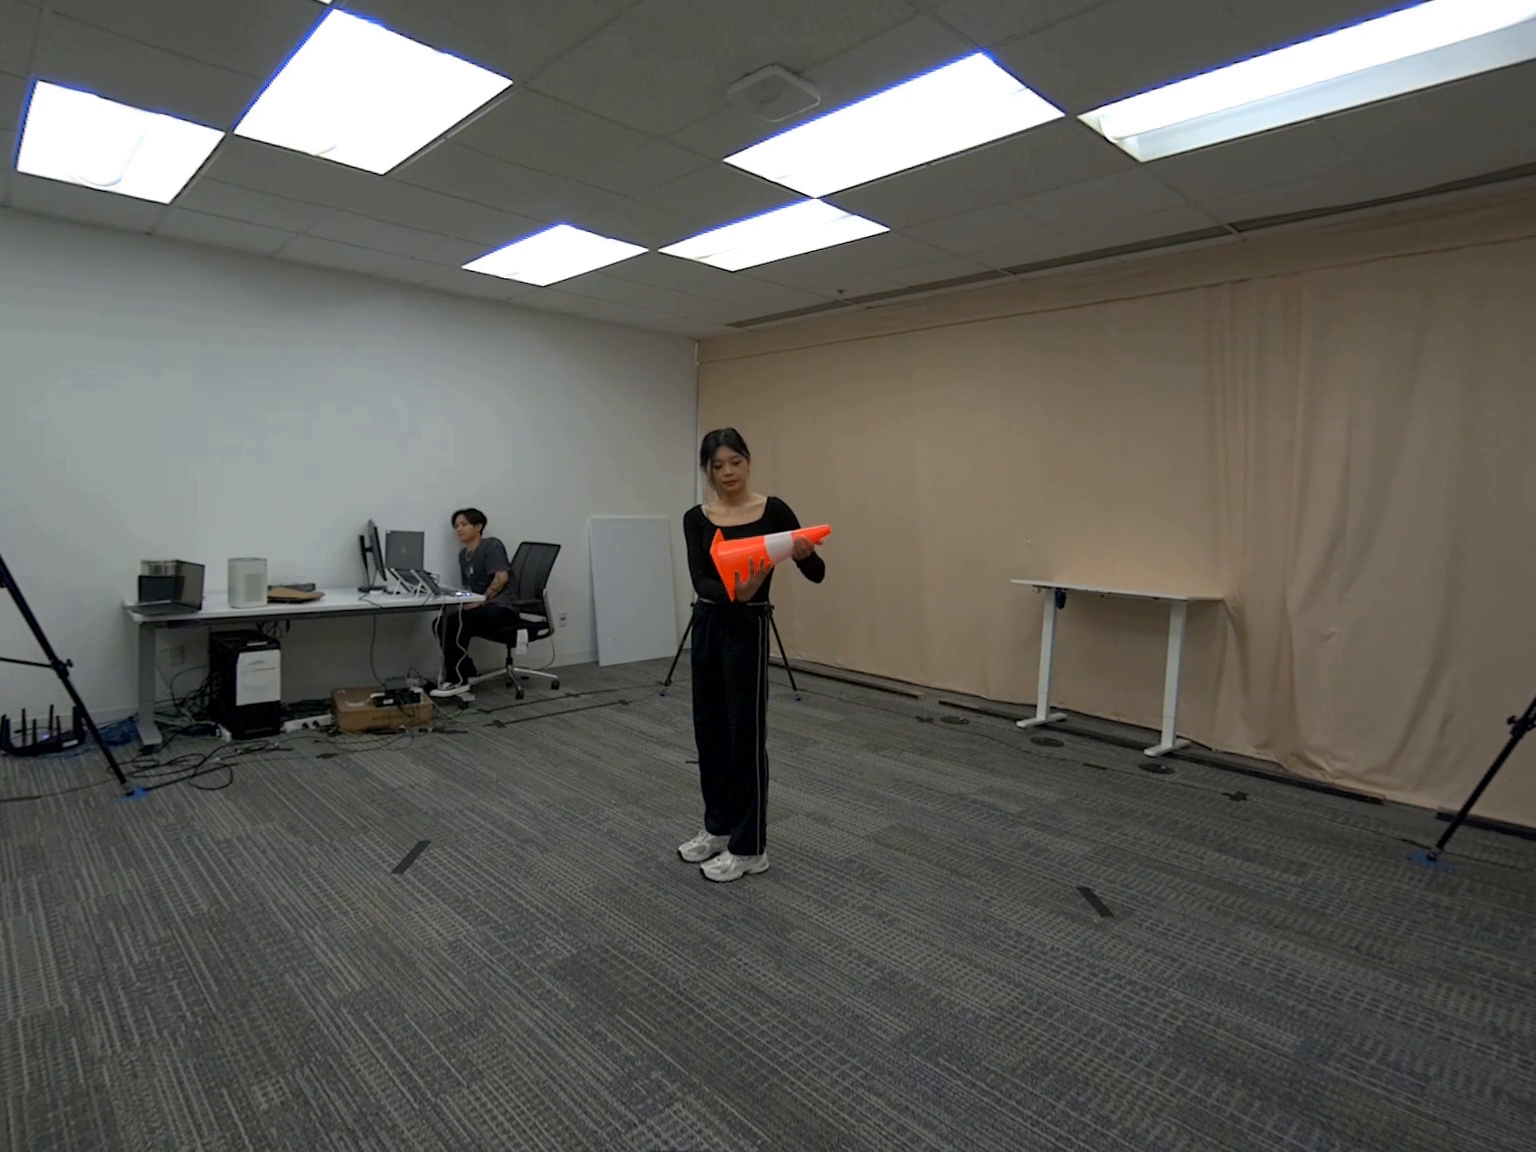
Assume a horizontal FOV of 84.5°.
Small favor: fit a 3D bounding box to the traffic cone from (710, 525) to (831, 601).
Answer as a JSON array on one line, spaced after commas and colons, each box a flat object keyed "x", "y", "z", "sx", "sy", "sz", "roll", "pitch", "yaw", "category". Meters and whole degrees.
[{"x": 0.021, "y": -0.089, "z": 2.817, "sx": 0.386, "sy": 0.199, "sz": 0.207, "roll": -18, "pitch": 22, "yaw": 12, "category": "traffic cone"}]
